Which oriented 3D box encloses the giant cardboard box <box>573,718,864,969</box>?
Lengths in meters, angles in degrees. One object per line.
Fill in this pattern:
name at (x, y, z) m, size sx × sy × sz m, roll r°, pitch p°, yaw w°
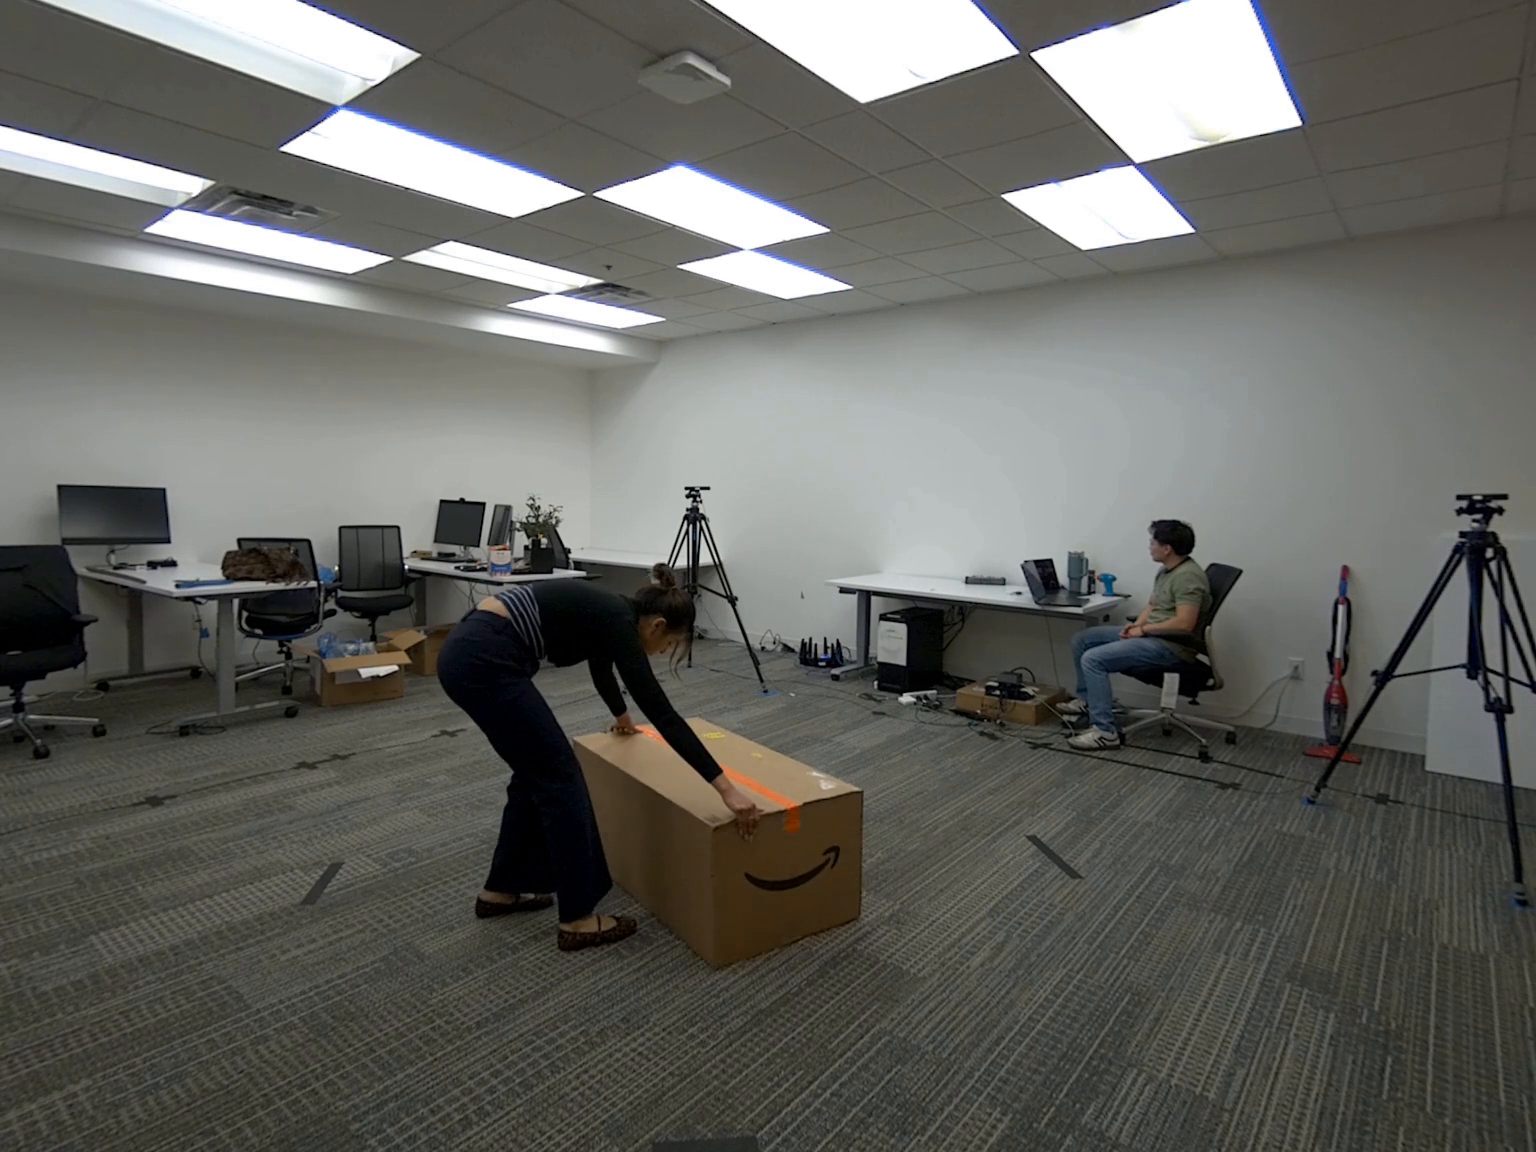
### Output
giant cardboard box at (-0.236, 0.857, 3.014) m, size 0.561 × 0.425 × 1.060 m, roll -2°, pitch 6°, yaw -35°
